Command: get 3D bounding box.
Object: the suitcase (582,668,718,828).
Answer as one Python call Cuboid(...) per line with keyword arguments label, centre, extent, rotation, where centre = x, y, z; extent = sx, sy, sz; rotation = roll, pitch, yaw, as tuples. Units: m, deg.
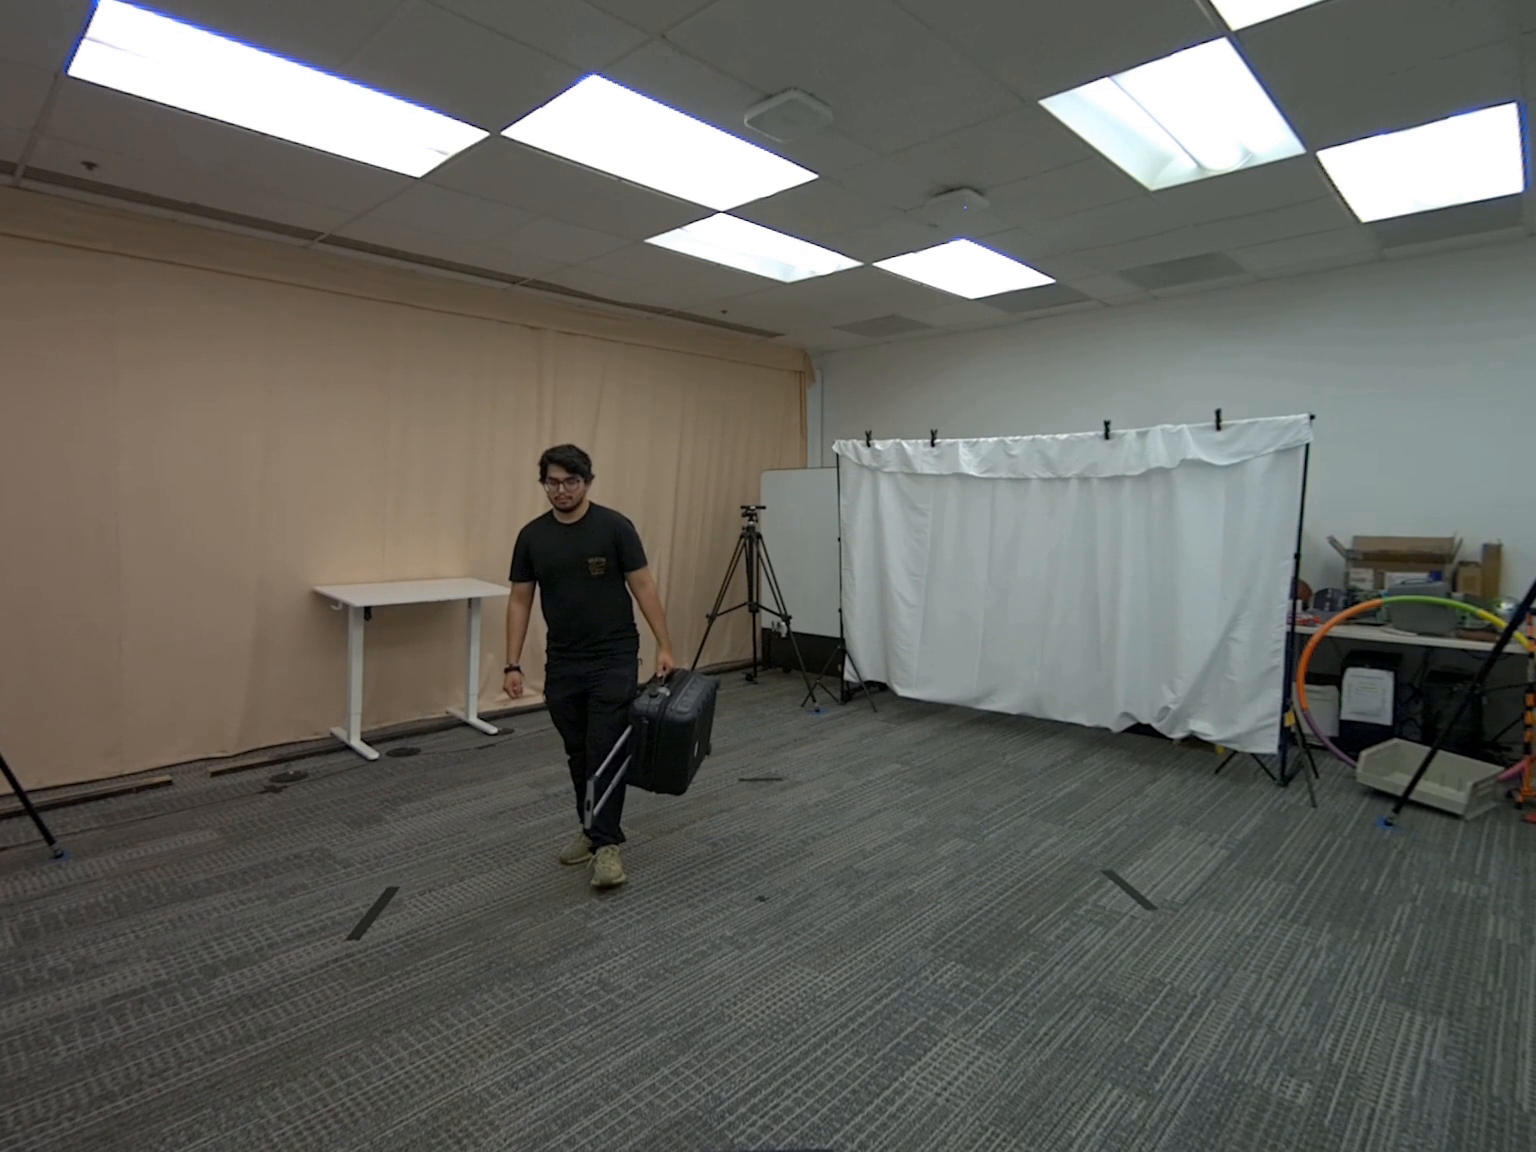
Cuboid(label="suitcase", centre=(-0.386, 0.614, 3.051), extent=(0.259, 0.382, 0.976), rotation=(9, 10, 5))
